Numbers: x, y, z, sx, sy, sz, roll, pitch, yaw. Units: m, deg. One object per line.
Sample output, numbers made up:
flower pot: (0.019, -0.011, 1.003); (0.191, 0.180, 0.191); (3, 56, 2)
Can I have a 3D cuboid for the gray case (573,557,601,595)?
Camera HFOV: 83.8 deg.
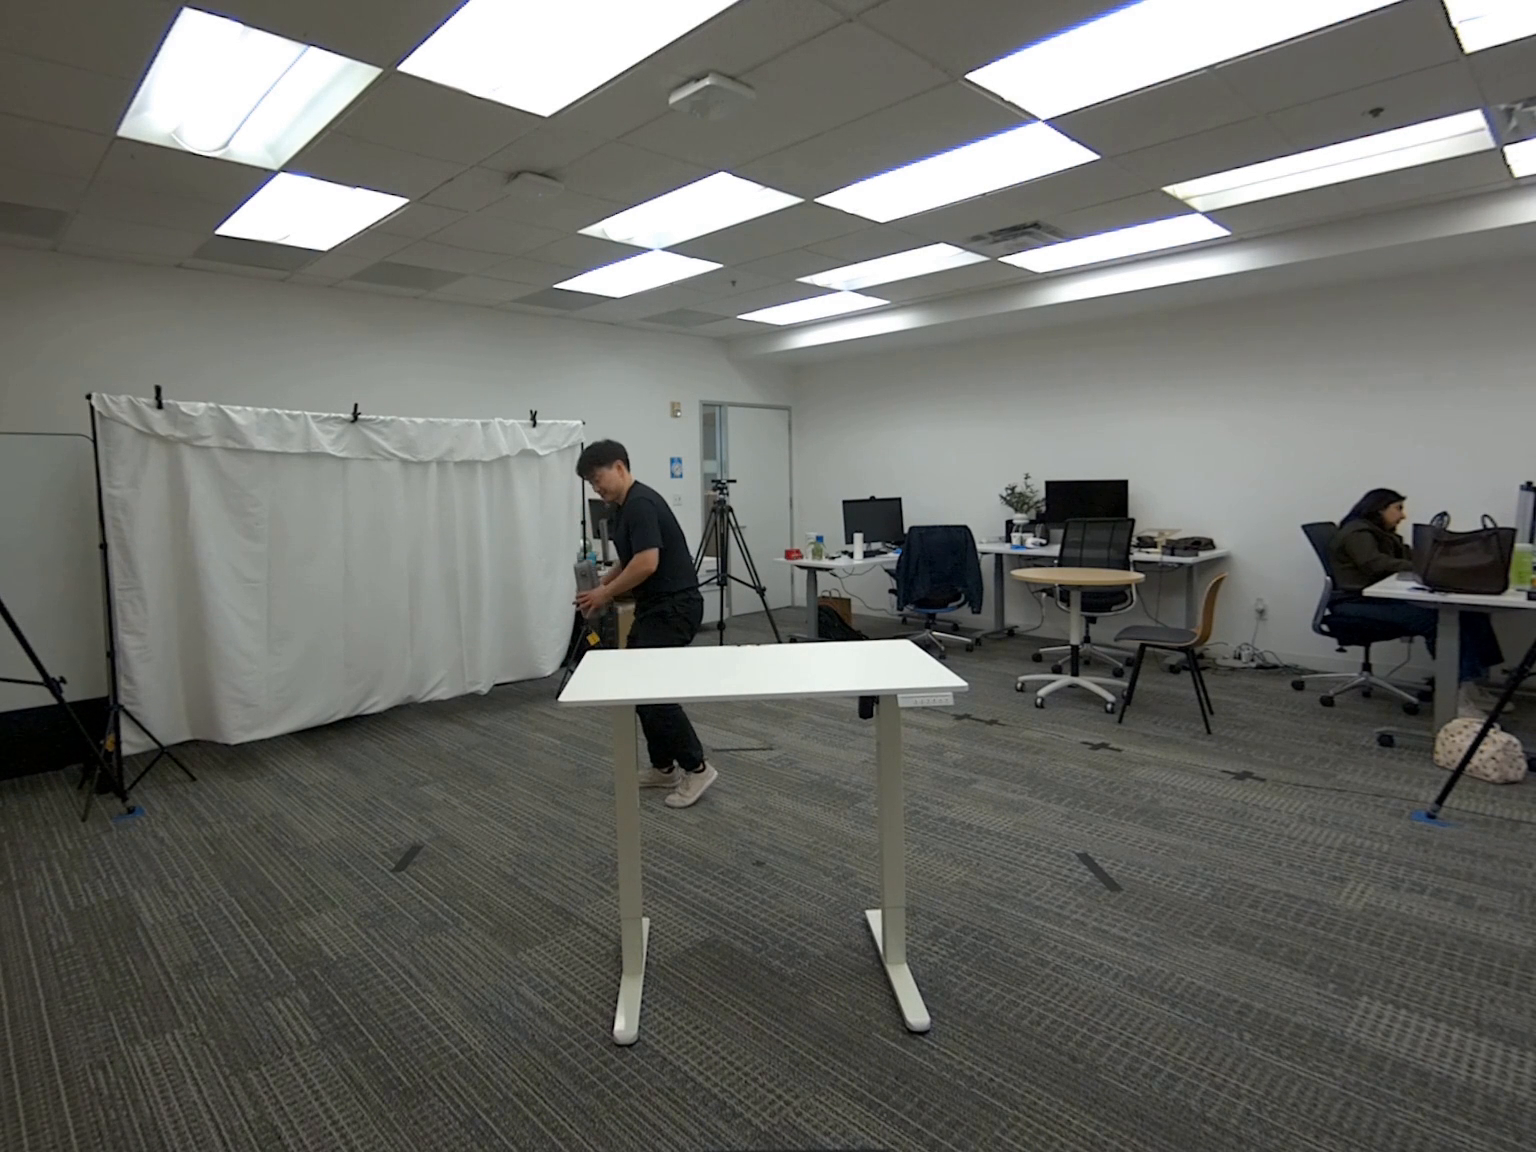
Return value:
gray case: (-0.800, 0.054, 3.840); (0.103, 0.260, 0.260); (-11, 4, -12)
